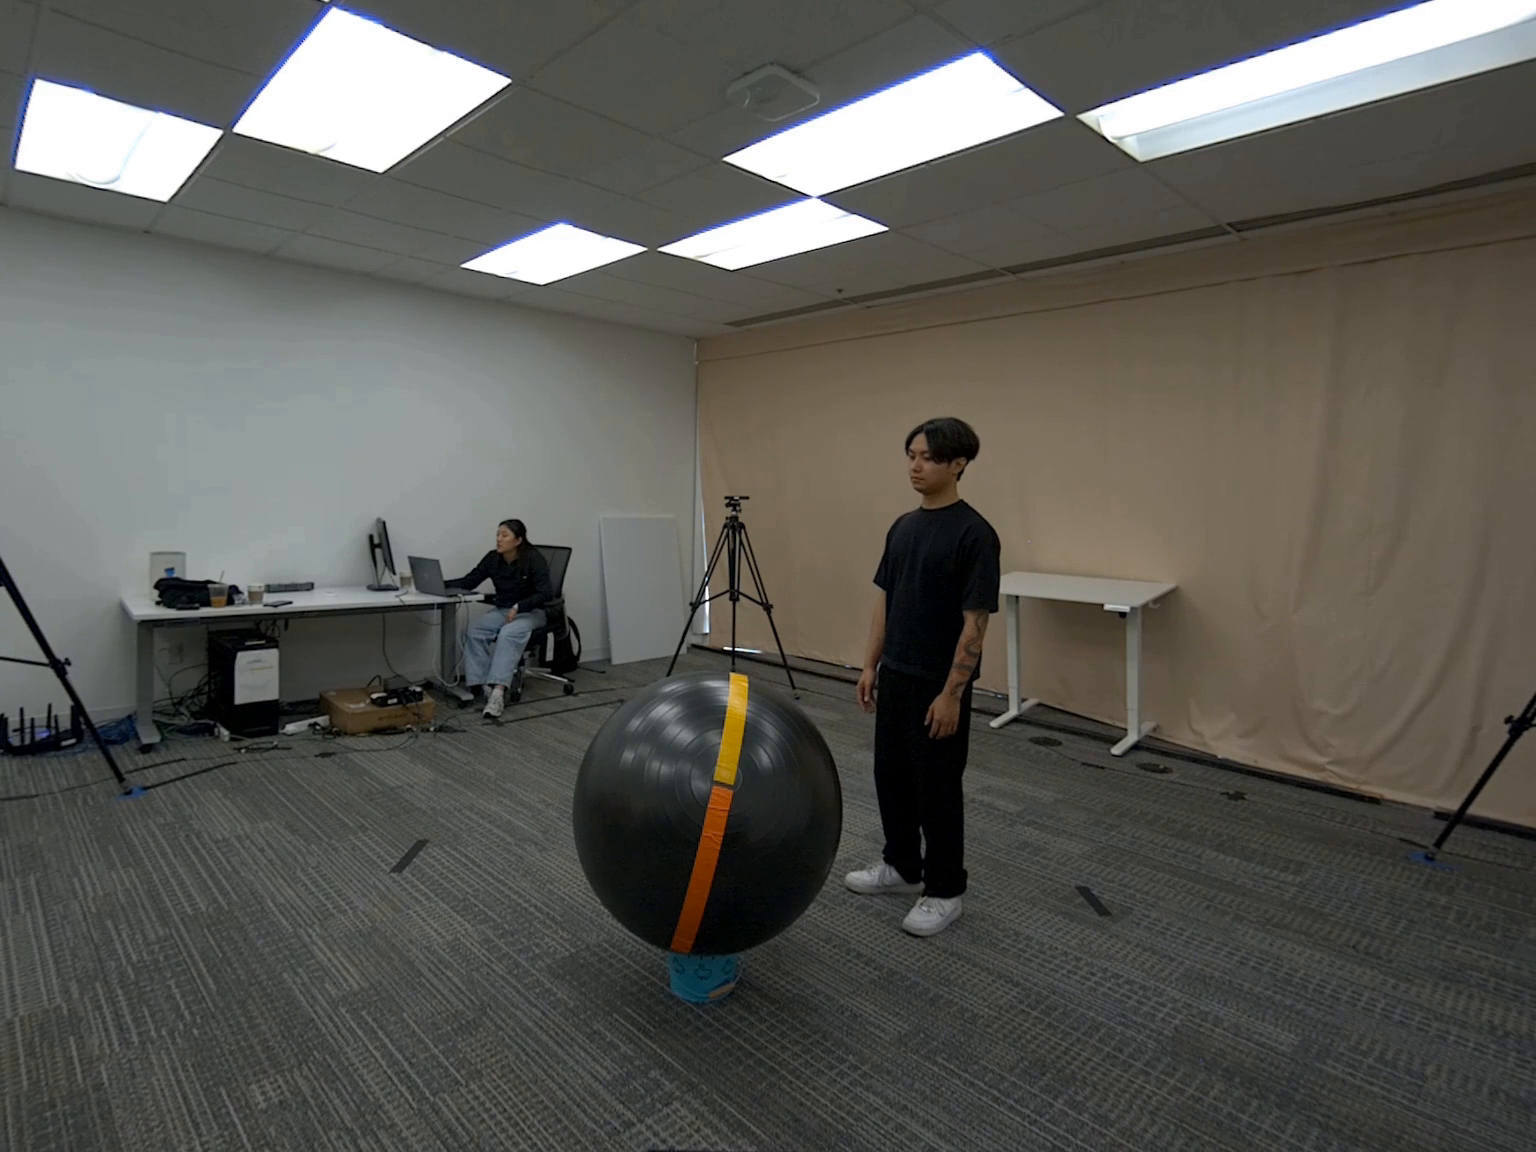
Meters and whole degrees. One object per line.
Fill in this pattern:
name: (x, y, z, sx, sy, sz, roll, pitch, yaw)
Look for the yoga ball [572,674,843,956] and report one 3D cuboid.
yoga ball: (-0.174, 0.660, 2.380, 0.757, 0.756, 0.761, 1, 4, -1)
